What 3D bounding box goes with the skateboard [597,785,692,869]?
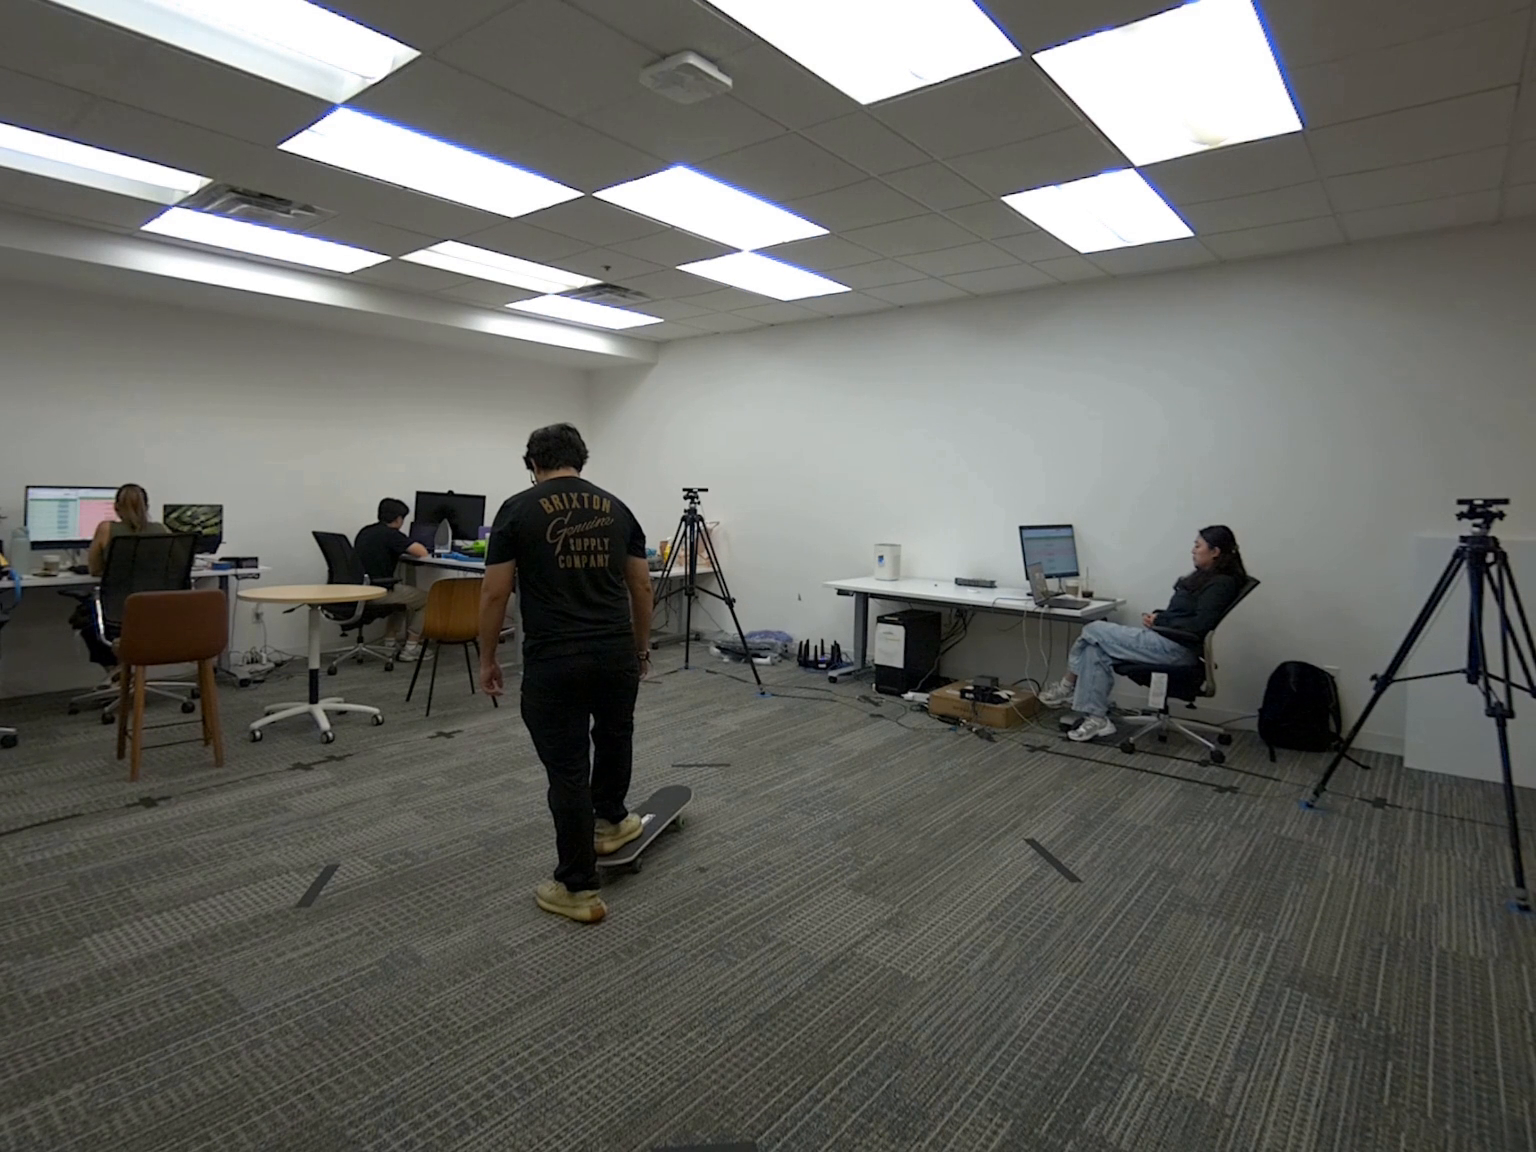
[{"bbox_3d":[-0.504,0.992,3.294,0.197,0.110,0.775,-2,6,16],"label":"skateboard"}]
